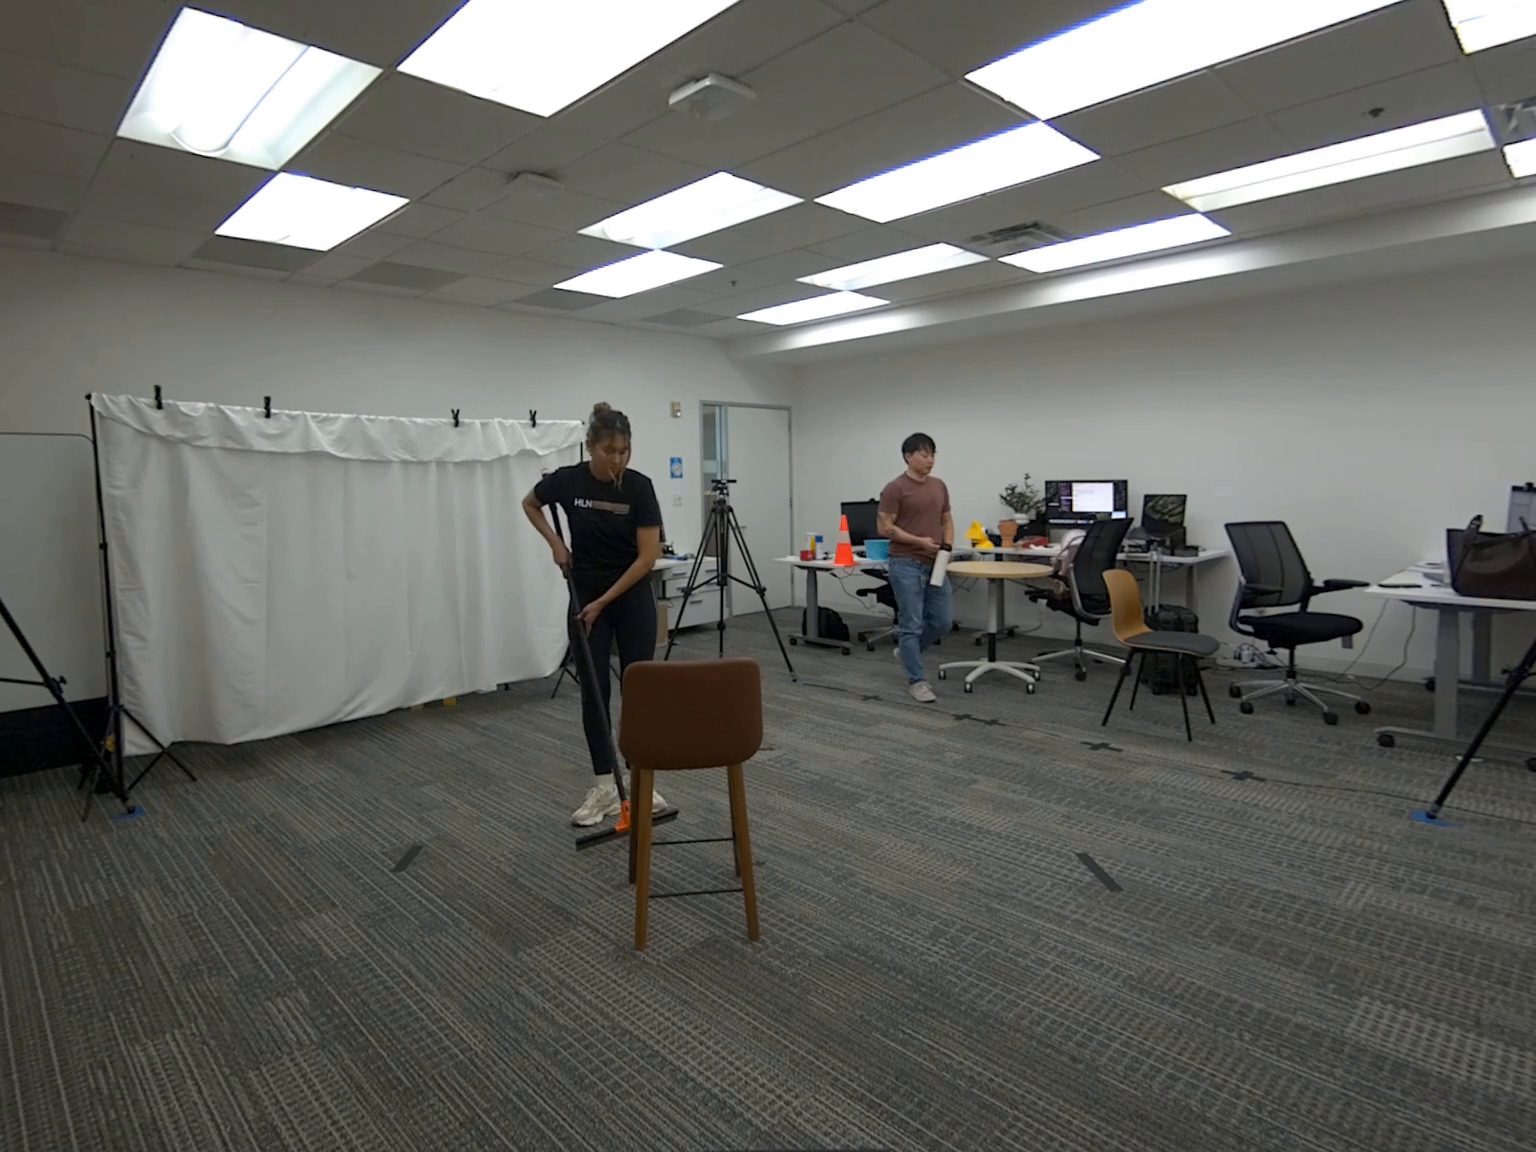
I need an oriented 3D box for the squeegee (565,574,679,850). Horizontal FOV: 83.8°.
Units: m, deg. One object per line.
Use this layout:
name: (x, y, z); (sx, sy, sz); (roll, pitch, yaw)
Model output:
squeegee: (-0.736, 0.273, 3.489); (0.429, 1.564, 0.053); (-10, -17, -28)
